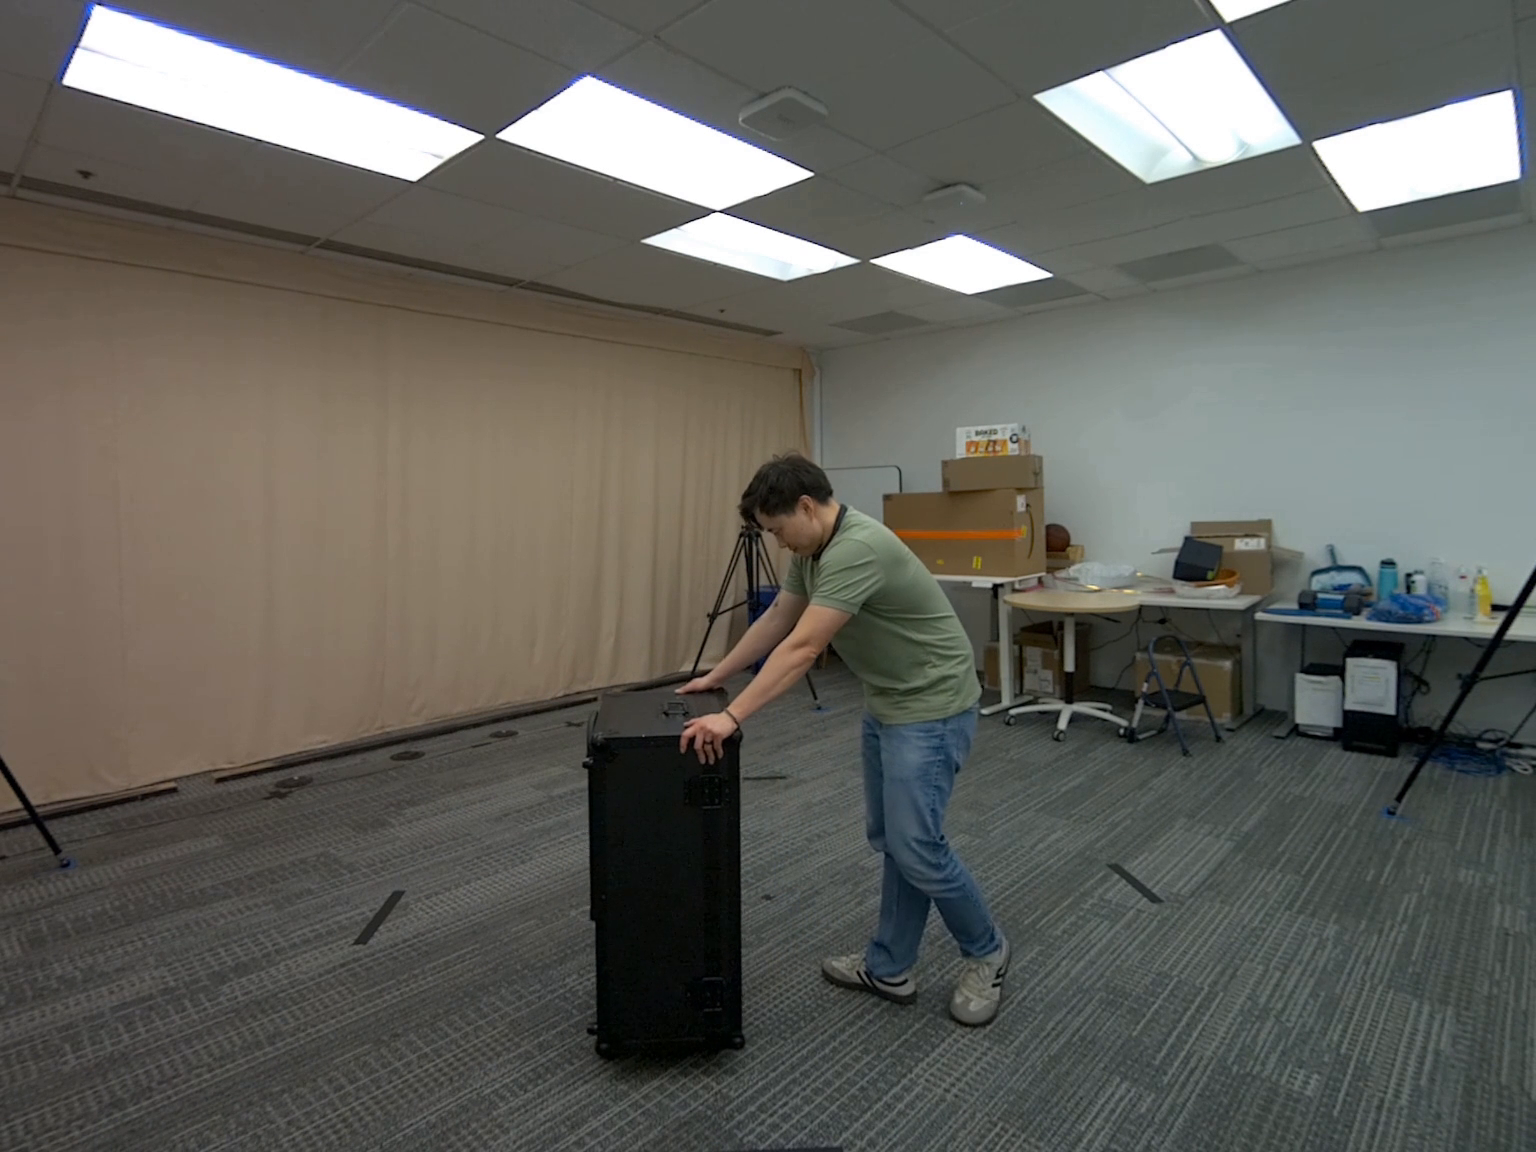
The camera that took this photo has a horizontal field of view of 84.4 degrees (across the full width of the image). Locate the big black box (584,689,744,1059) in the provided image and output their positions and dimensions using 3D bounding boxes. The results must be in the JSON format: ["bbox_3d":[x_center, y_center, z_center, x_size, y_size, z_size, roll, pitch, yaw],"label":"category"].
[{"bbox_3d":[-0.277,0.791,2.245,0.394,0.860,0.525,-2,3,-6],"label":"big black box"}]
